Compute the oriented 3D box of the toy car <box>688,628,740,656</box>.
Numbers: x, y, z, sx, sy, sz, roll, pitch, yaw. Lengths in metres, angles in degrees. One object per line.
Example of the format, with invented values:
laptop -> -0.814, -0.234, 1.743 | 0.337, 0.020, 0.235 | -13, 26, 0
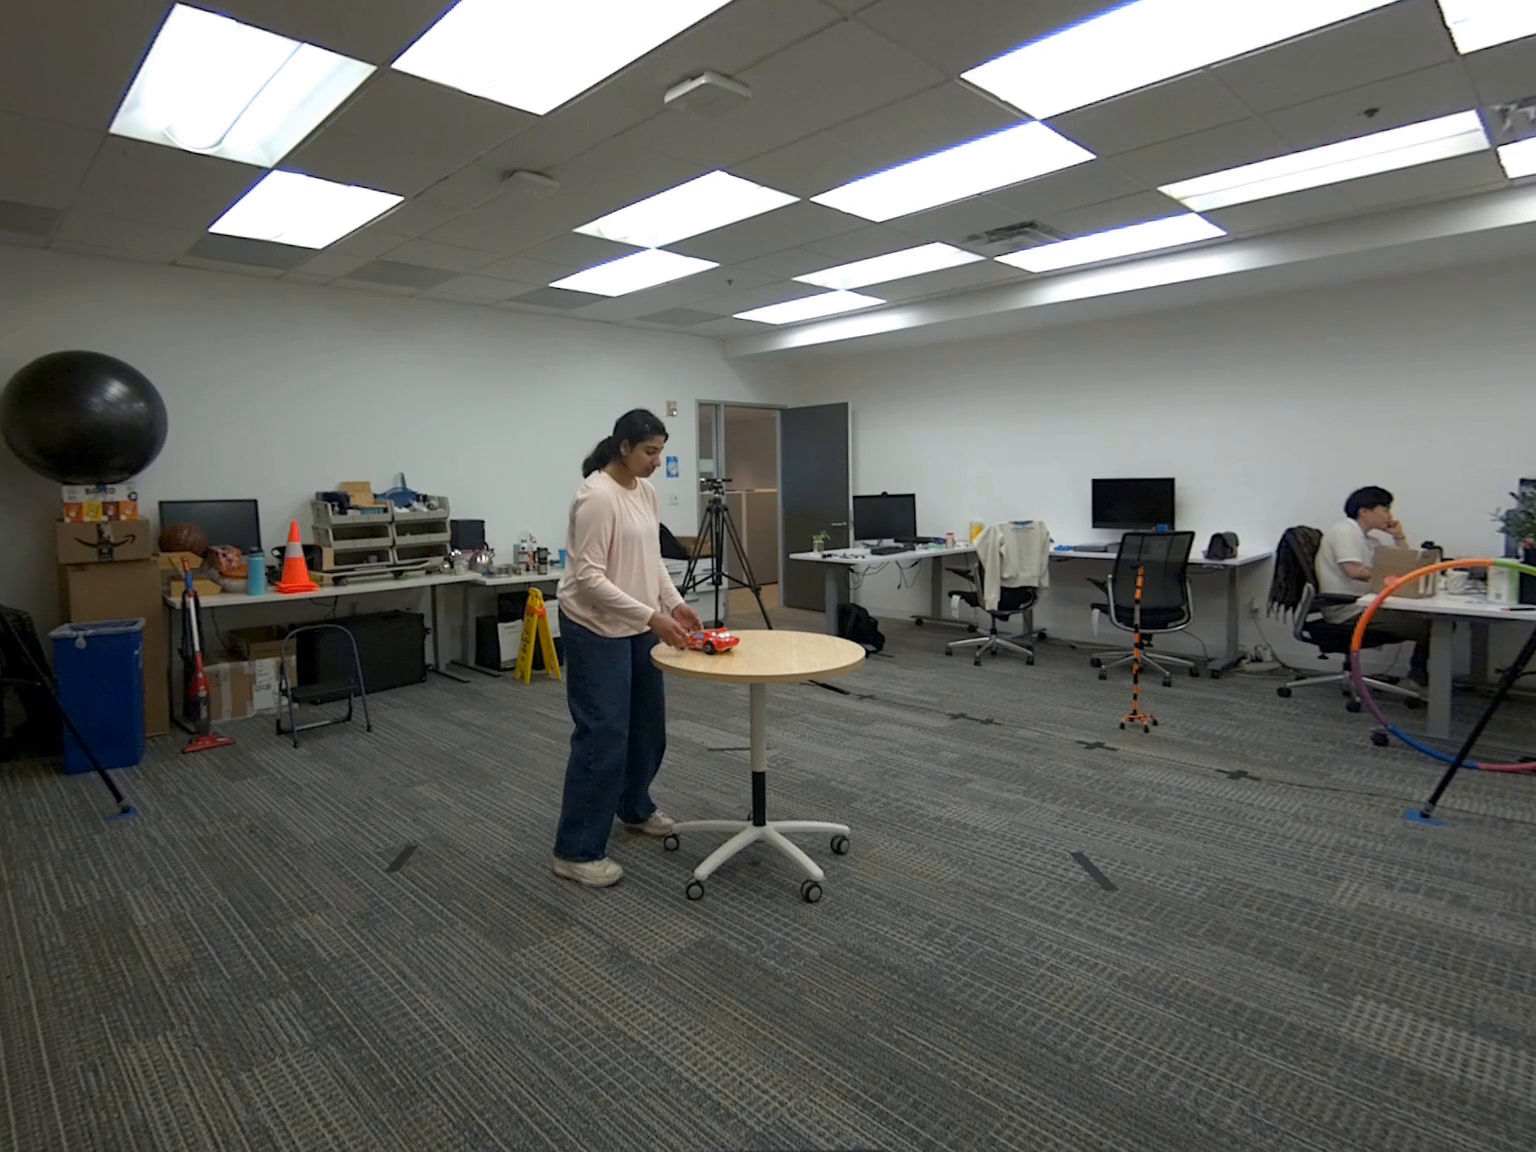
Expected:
toy car -> -0.210, 0.232, 3.056 | 0.260, 0.083, 0.127 | -9, 0, 40
